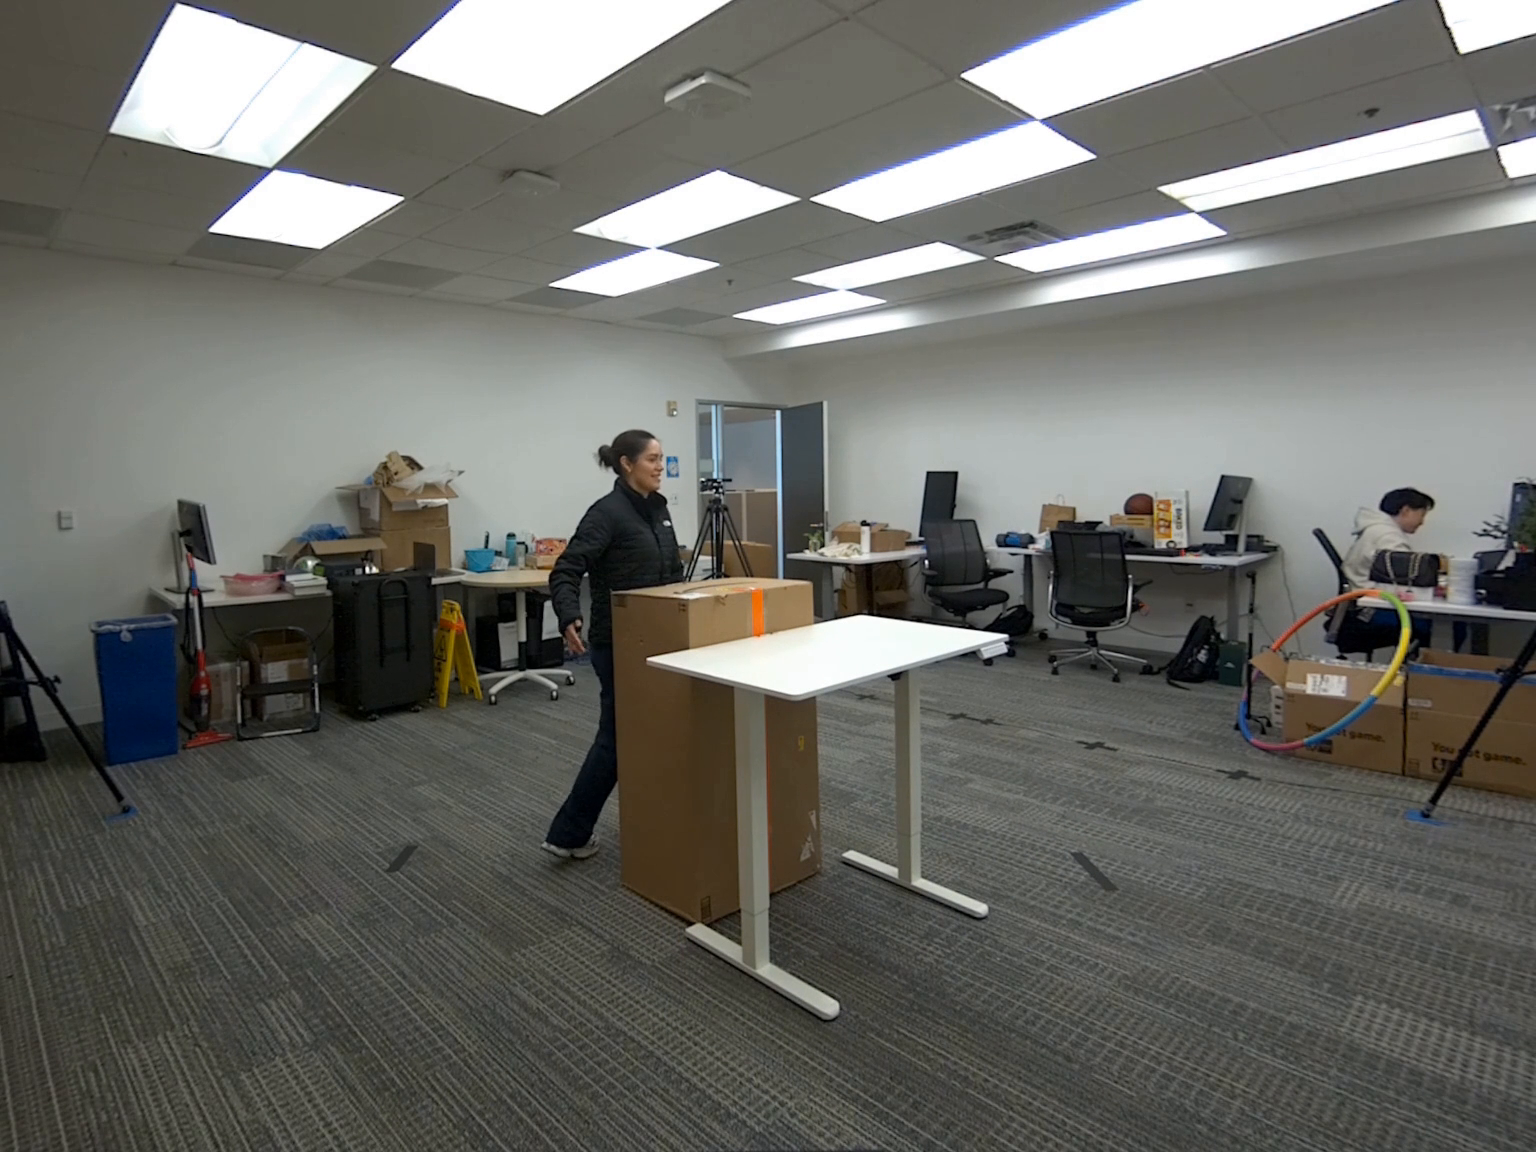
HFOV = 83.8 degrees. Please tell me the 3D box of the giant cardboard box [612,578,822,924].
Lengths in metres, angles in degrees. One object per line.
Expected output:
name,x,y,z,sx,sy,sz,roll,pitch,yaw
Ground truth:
giant cardboard box,-0.172,0.547,2.977,0.568,1.025,0.460,-4,3,-42
